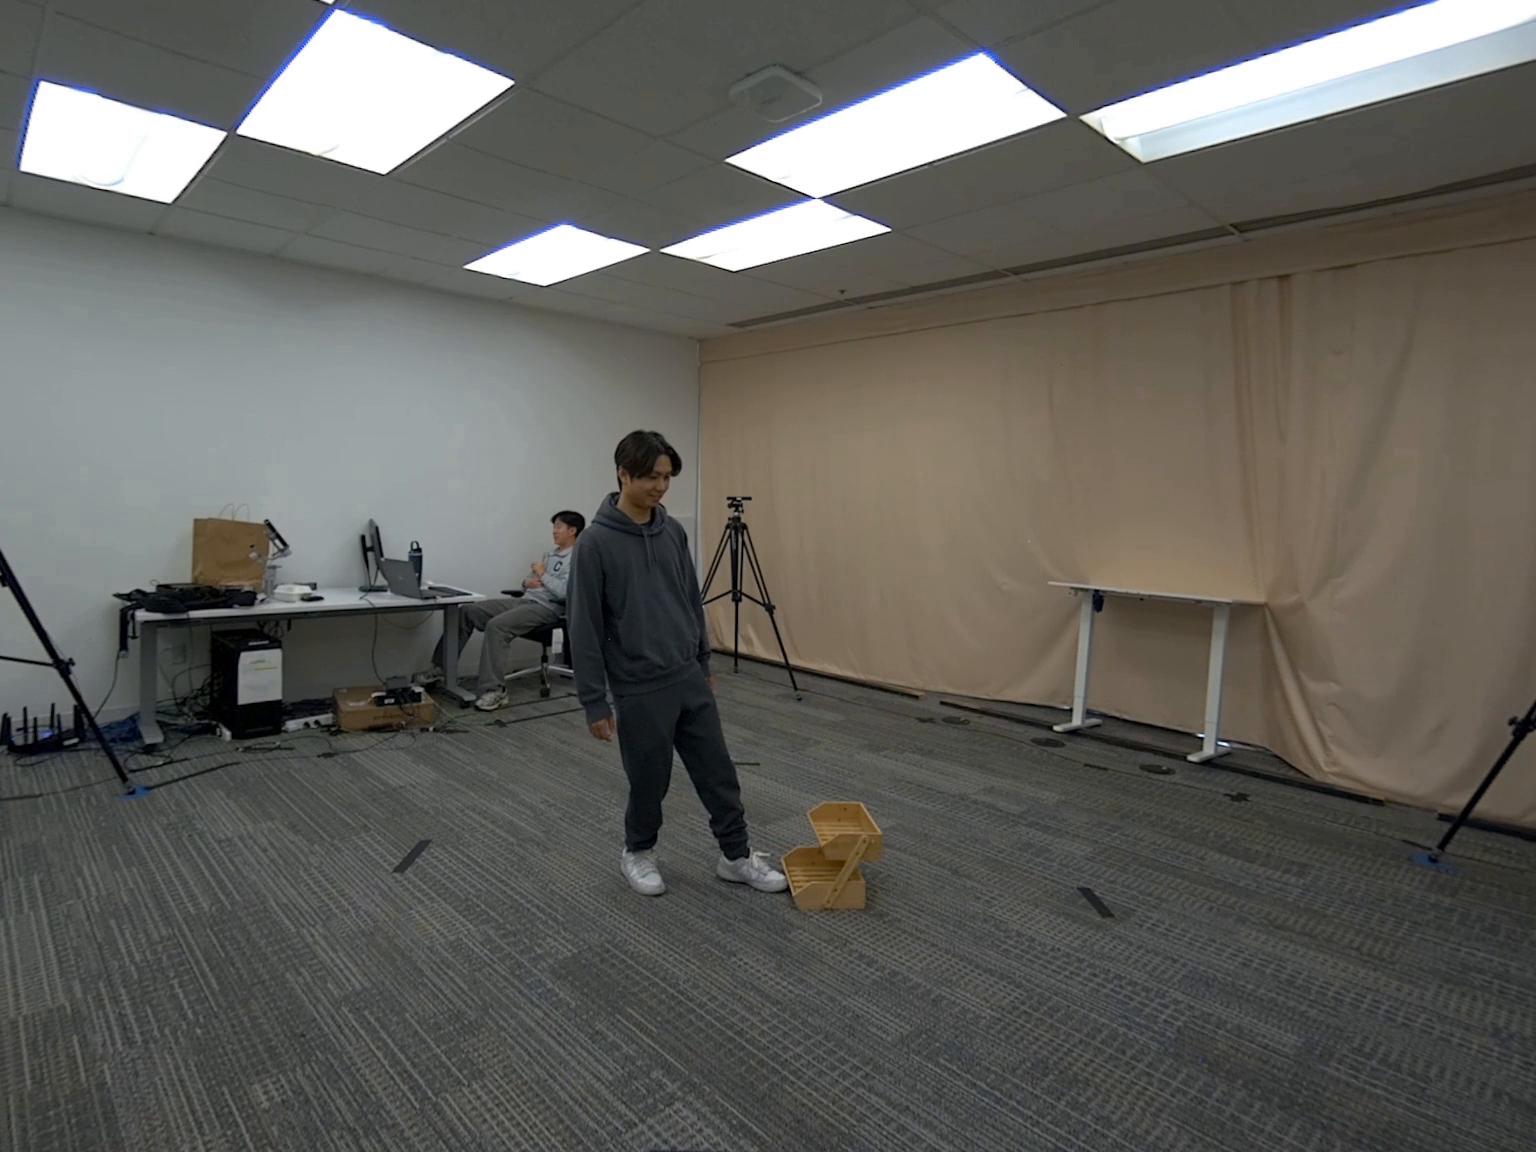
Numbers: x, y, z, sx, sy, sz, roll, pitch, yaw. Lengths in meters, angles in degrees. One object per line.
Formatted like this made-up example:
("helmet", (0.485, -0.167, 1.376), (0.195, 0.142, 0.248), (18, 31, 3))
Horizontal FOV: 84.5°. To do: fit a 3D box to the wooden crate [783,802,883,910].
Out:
("wooden crate", (0.206, 0.987, 3.008), (0.300, 0.272, 0.327), (2, 4, -6))
